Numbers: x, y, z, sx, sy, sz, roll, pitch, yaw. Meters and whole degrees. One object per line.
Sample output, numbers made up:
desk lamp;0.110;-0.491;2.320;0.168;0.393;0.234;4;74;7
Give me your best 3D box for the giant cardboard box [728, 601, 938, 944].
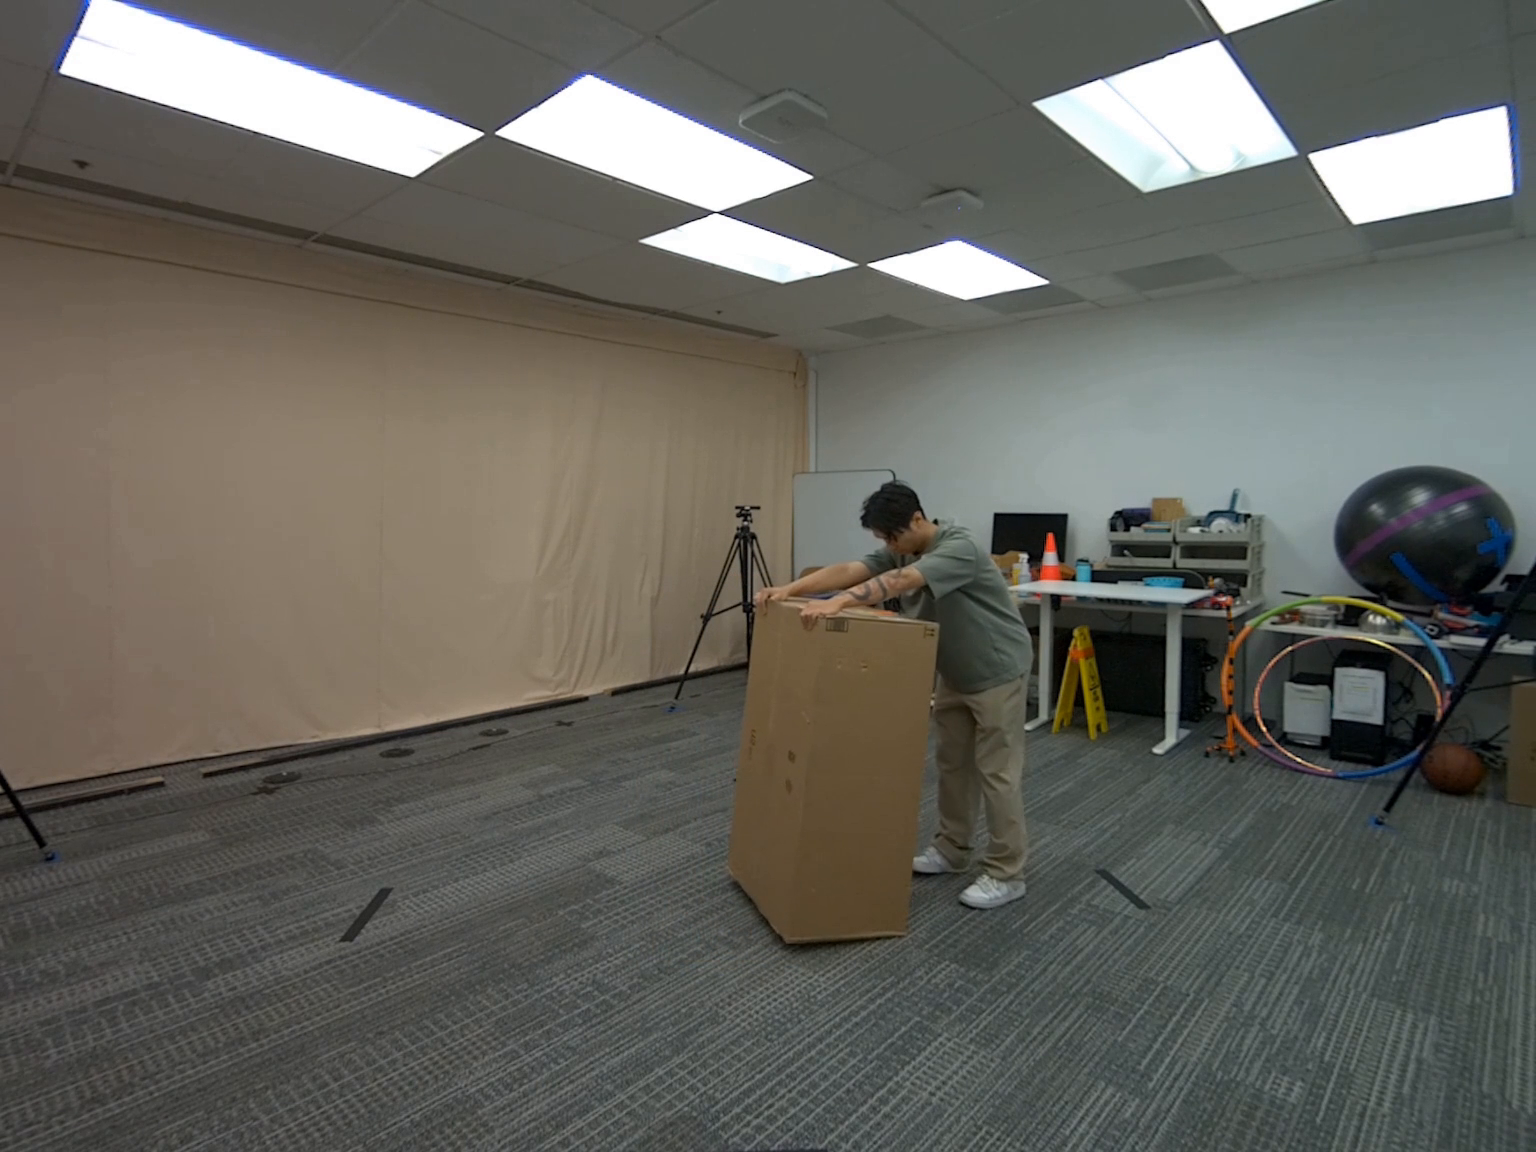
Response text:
giant cardboard box;0.207;0.620;2.922;0.417;1.025;0.591;5;2;-21
